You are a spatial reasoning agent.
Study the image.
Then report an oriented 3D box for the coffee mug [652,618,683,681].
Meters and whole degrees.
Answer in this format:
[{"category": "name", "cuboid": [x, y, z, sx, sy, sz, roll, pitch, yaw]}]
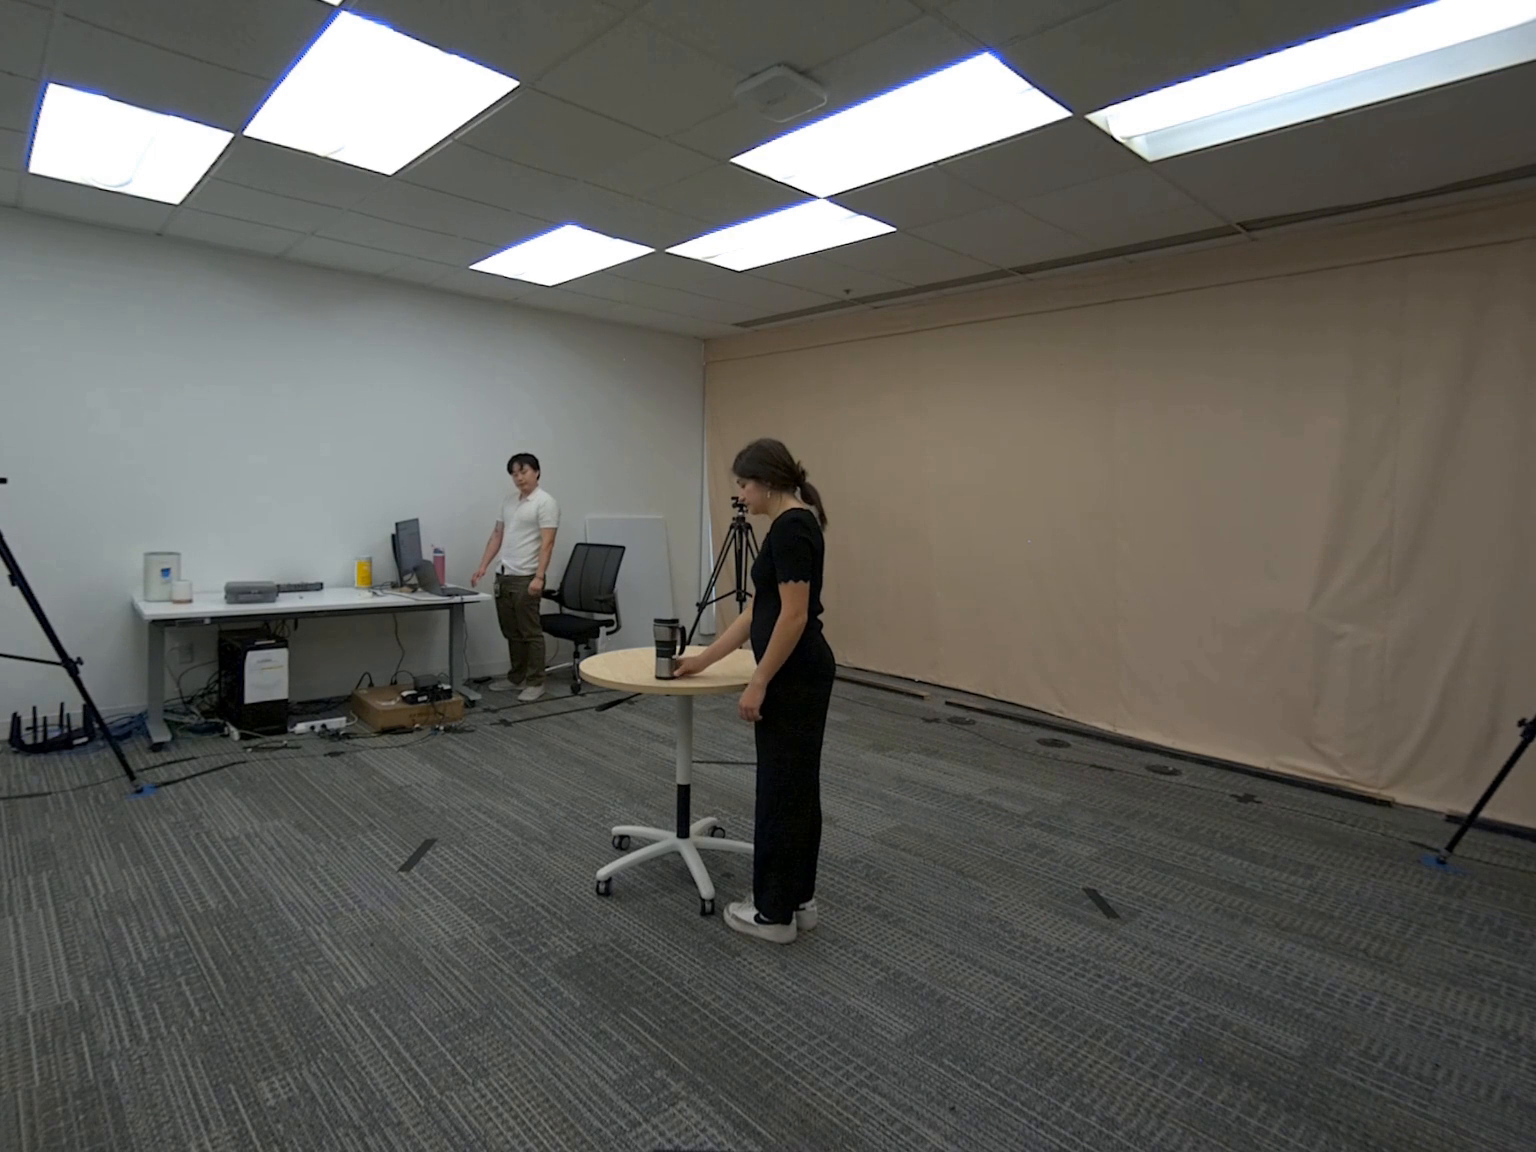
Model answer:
[{"category": "coffee mug", "cuboid": [-0.334, 0.245, 2.792, 0.086, 0.203, 0.124, 4, -1, -26]}]
